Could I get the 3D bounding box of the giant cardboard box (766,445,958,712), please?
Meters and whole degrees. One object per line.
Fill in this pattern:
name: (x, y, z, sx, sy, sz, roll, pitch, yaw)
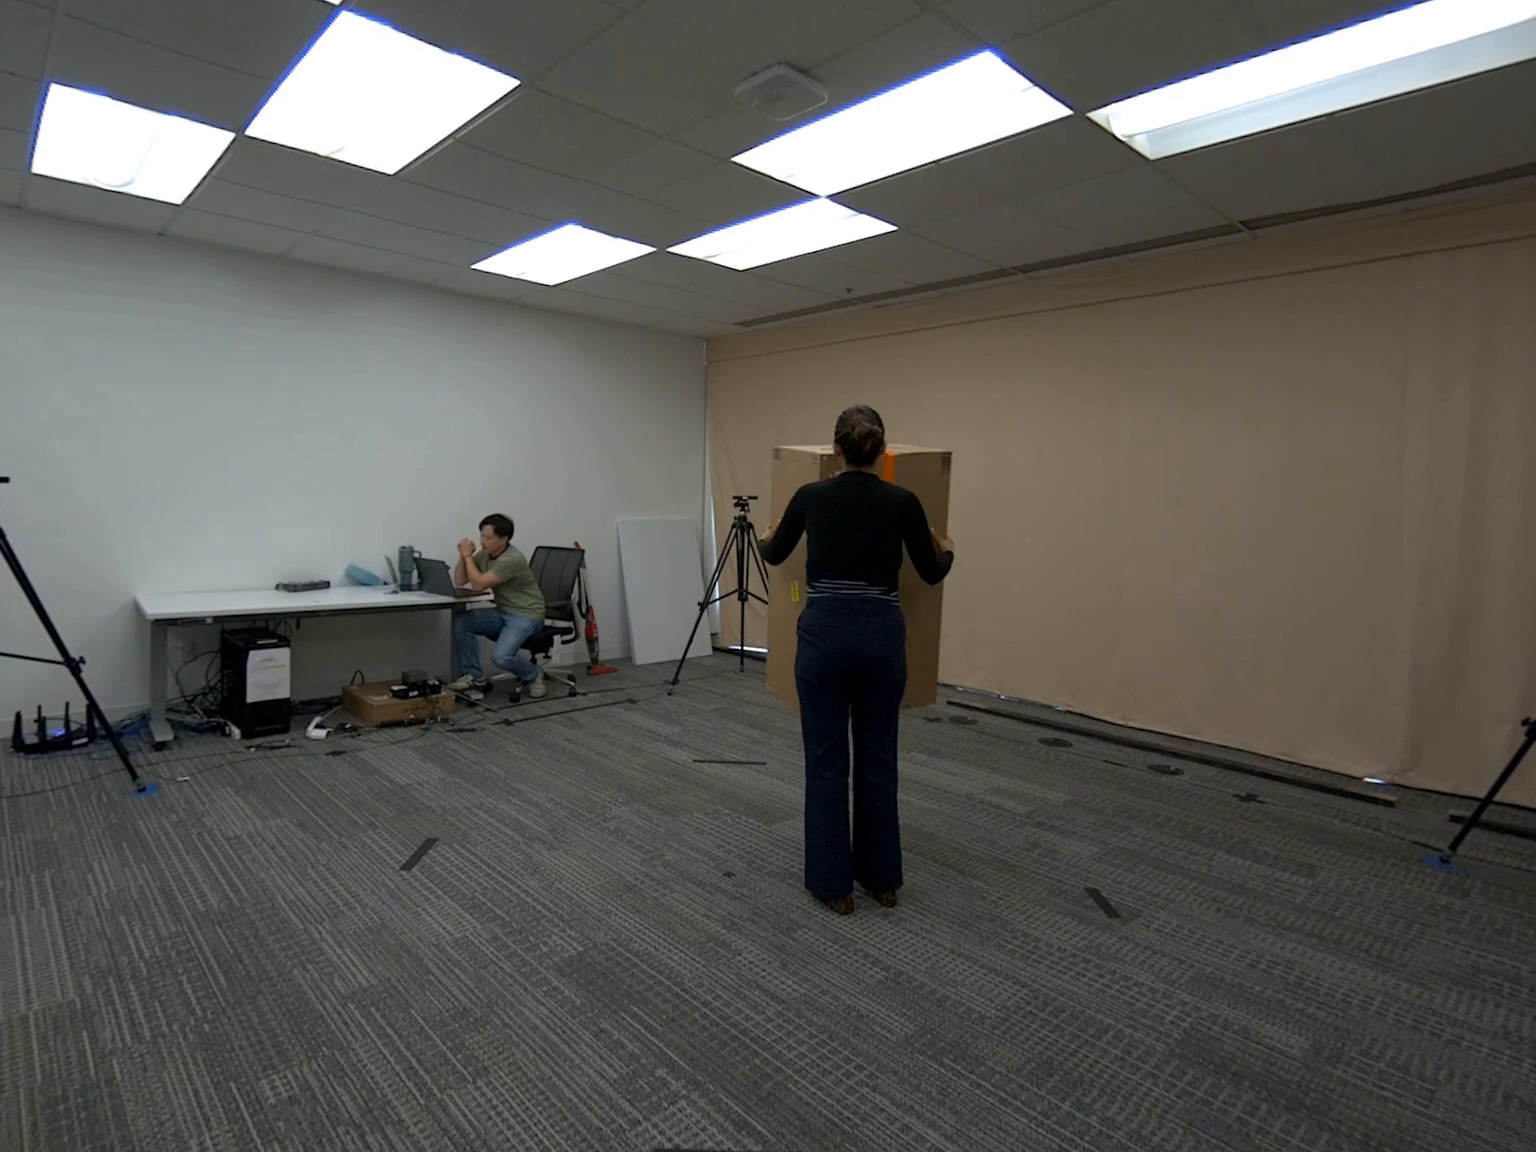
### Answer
giant cardboard box: (0.348, 0.001, 3.392, 0.568, 1.018, 0.436, -4, 11, -23)
